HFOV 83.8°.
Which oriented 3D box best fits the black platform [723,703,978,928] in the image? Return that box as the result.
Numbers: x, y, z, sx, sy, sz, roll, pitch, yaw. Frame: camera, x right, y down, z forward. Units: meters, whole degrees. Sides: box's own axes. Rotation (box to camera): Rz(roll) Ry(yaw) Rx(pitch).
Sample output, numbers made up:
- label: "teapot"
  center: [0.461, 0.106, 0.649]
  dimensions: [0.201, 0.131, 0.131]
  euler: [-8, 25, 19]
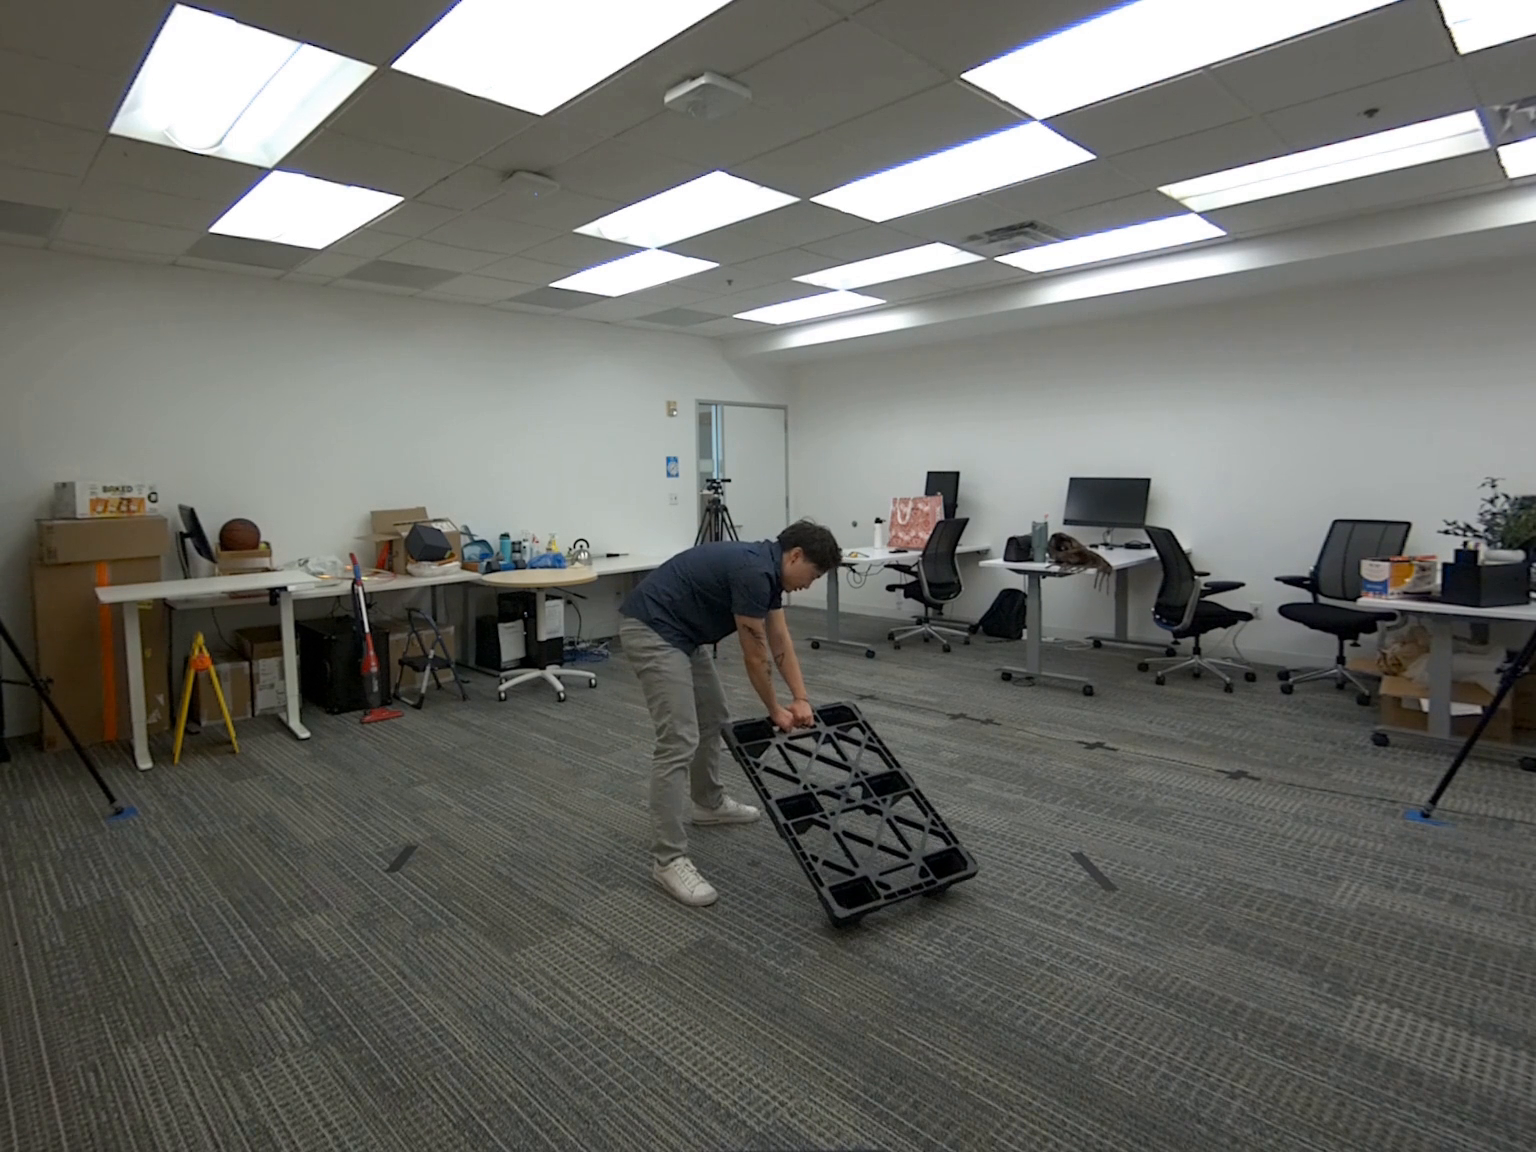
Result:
- label: "black platform"
  center: [0.254, 0.804, 2.986]
  dimensions: [0.591, 0.141, 0.838]
  euler: [-4, 38, -30]
